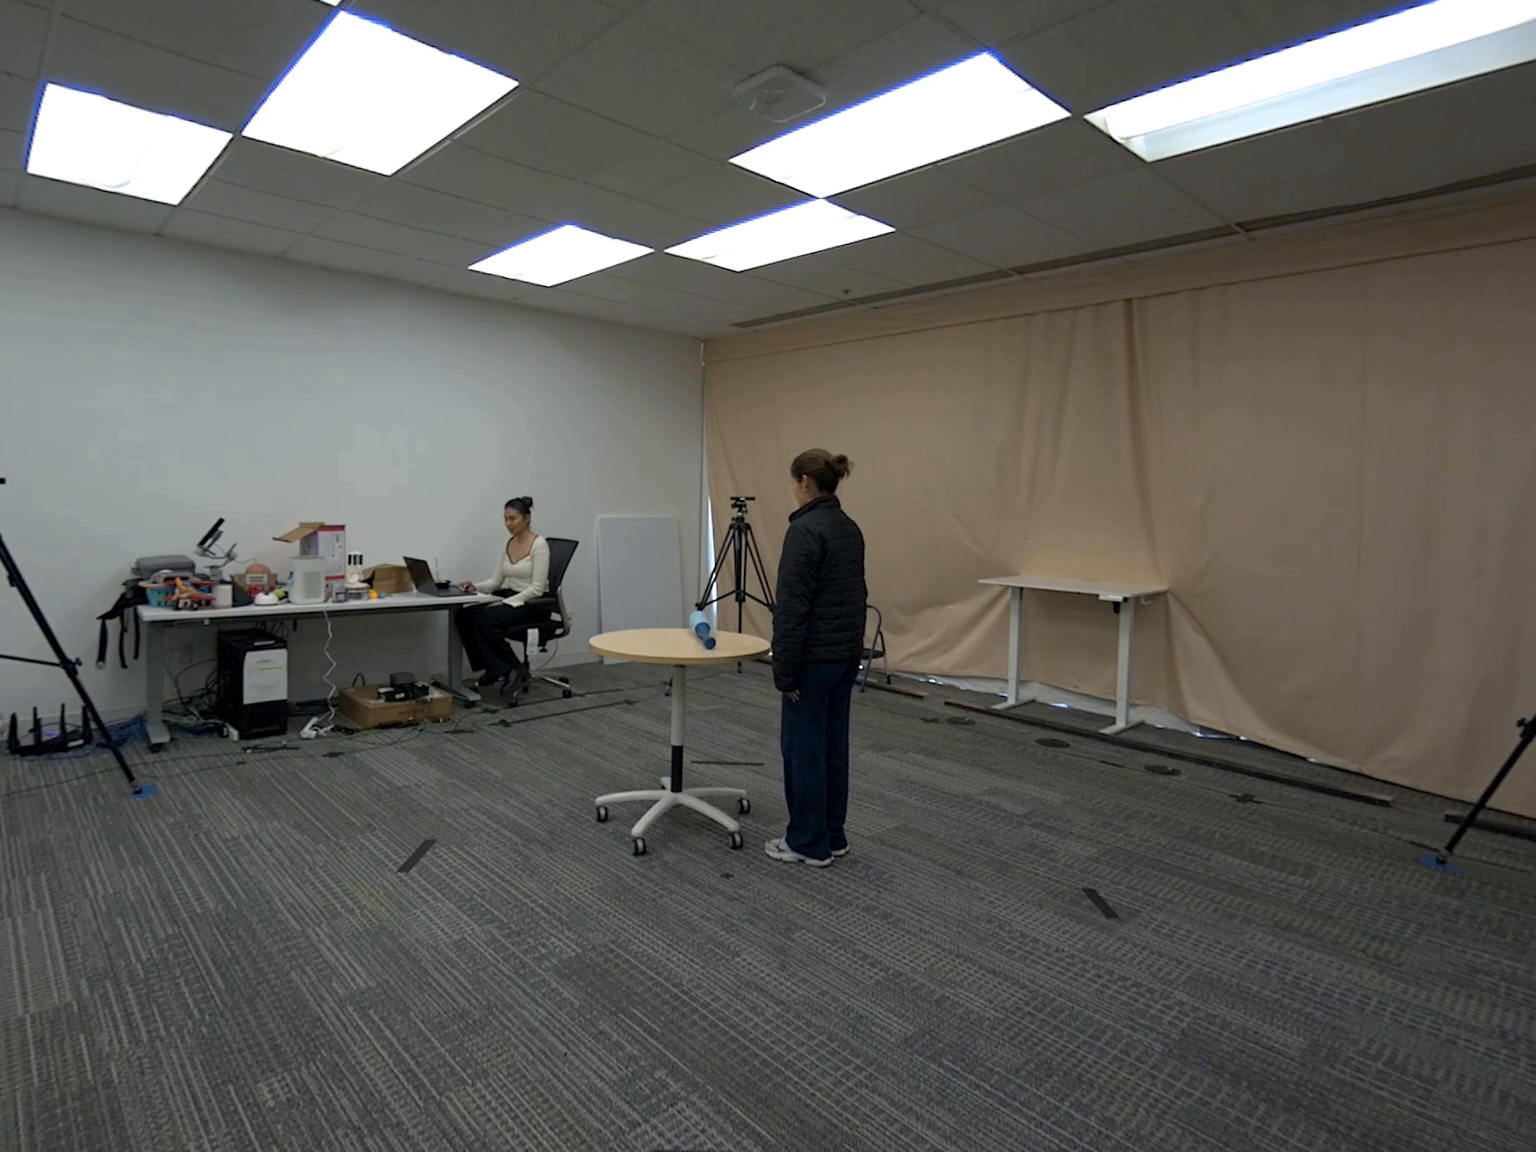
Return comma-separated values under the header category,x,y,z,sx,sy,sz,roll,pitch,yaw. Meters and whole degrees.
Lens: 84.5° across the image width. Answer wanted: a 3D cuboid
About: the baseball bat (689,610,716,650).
category,x,y,z,sx,sy,sz,roll,pitch,yaw
baseball bat,-0.302,0.243,3.656,0.088,0.088,0.549,1,8,-8
